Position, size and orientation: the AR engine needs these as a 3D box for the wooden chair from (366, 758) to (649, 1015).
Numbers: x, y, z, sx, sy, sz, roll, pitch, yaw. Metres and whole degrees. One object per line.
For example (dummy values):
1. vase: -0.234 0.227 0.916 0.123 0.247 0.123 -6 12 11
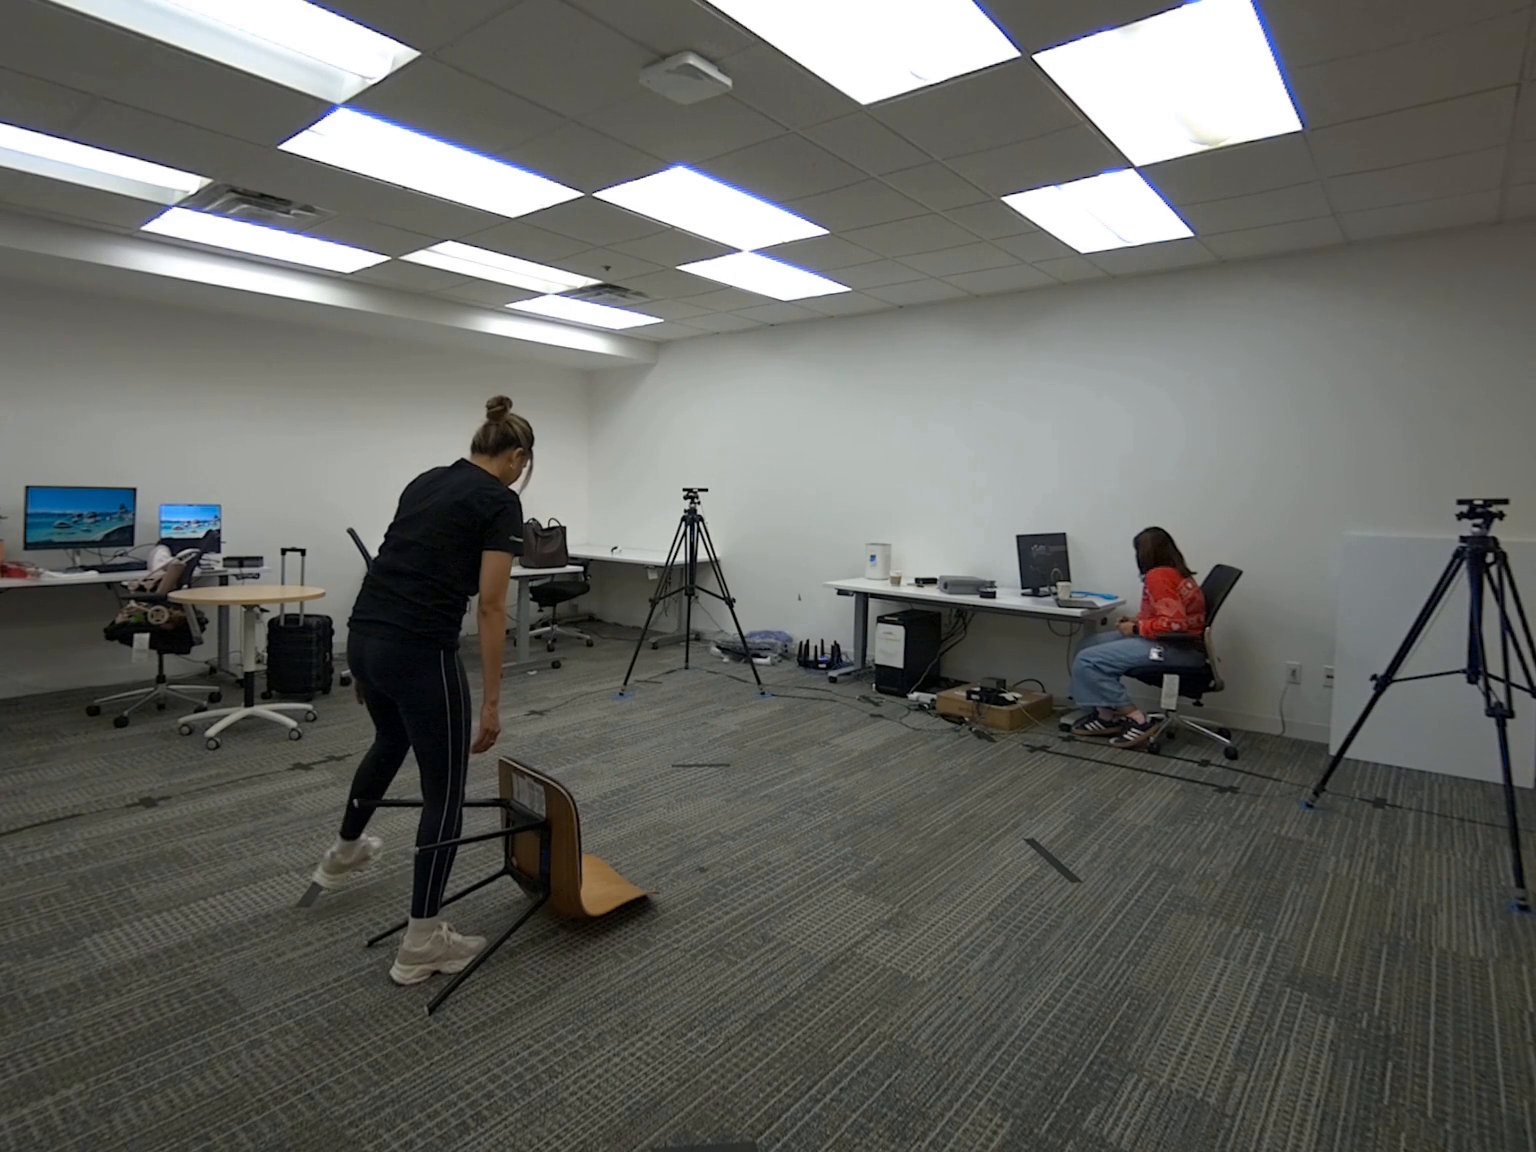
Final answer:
1. wooden chair: -0.760 0.846 2.652 0.850 0.522 0.494 -3 5 -44
